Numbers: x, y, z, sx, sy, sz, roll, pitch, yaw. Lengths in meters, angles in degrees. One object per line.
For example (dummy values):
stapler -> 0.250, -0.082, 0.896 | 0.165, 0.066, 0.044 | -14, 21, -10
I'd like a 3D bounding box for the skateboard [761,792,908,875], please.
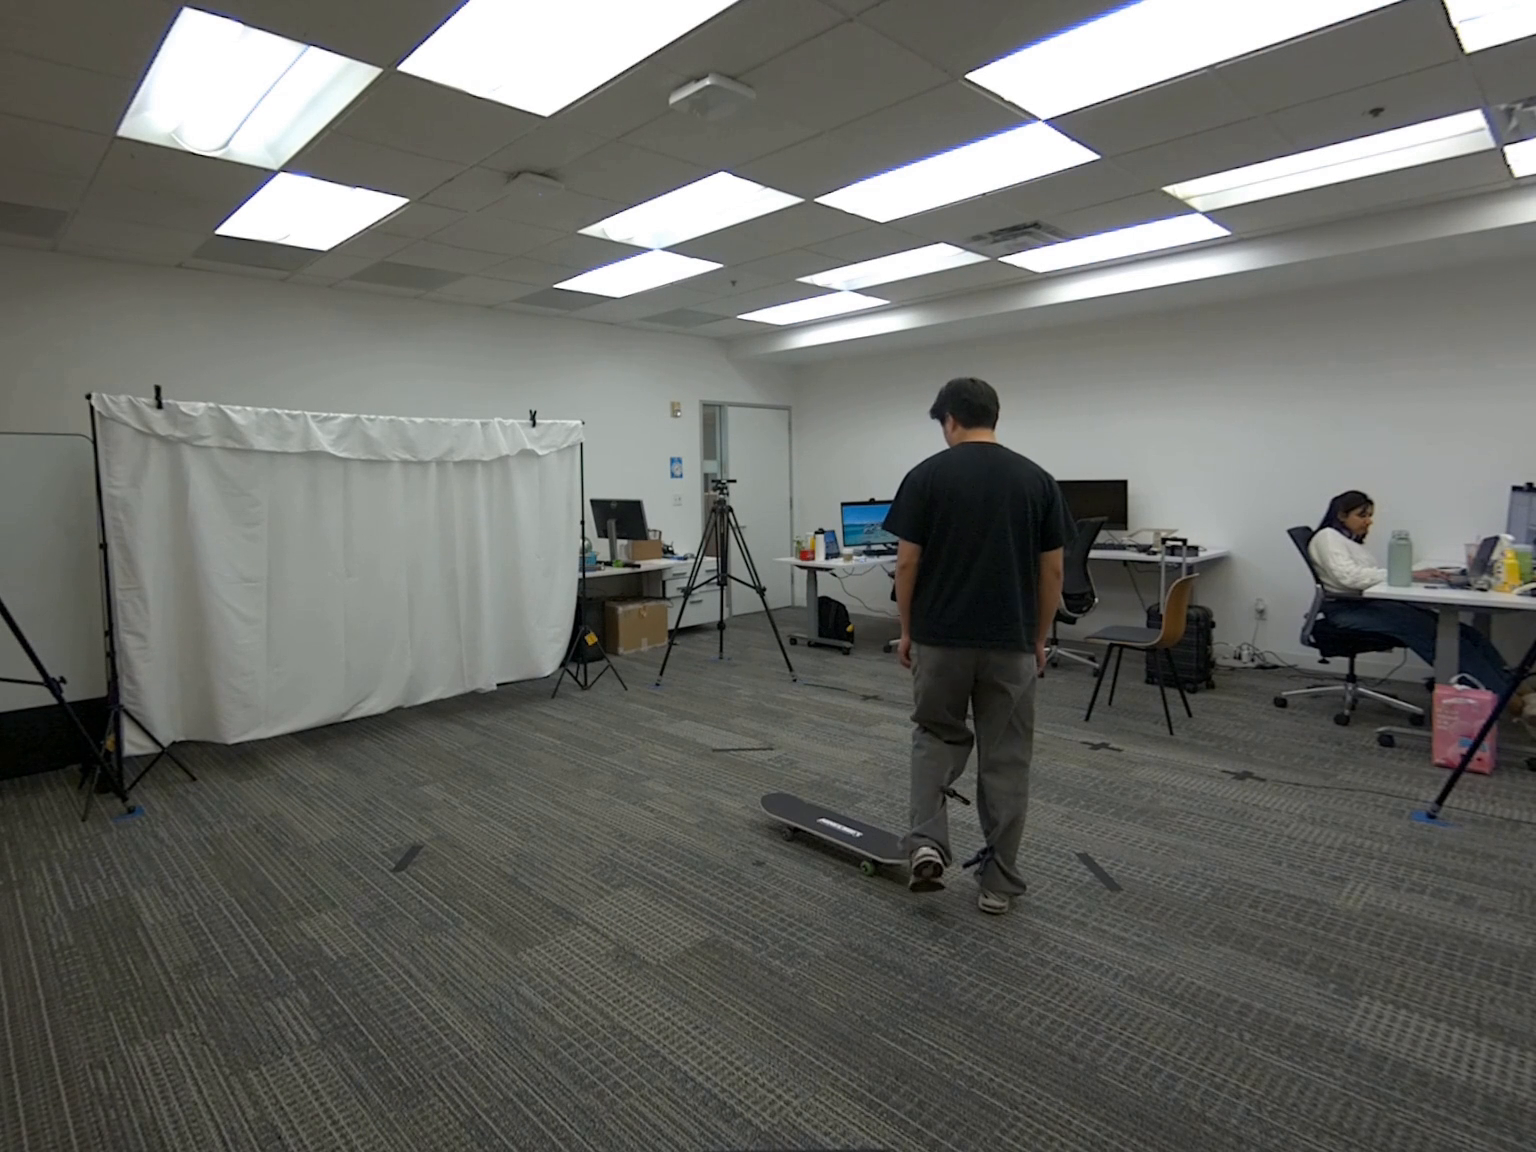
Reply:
skateboard -> 0.274, 0.978, 3.202 | 0.188, 0.110, 0.810 | -6, 8, -42
